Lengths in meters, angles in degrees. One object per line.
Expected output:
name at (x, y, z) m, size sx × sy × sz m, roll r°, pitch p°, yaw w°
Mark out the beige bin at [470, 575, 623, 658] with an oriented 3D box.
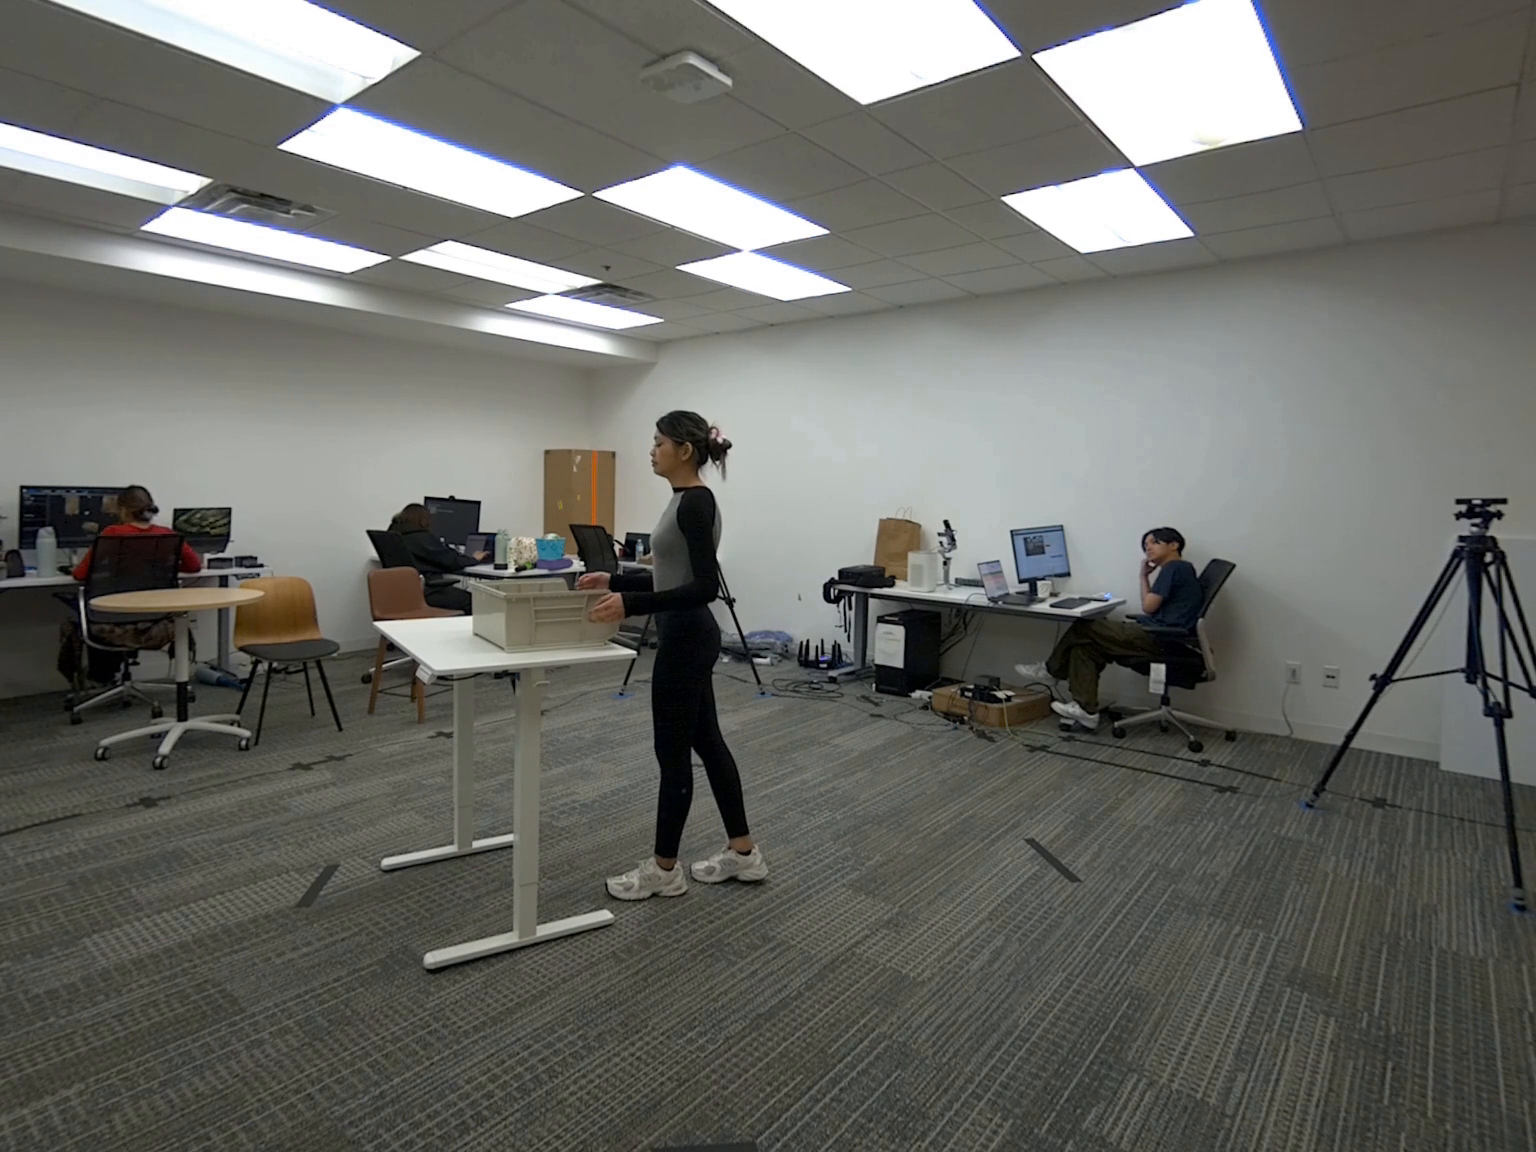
beige bin at (-0.748, 0.120, 2.802) m, size 0.367 × 0.188 × 0.436 m, roll -4°, pitch 6°, yaw -32°
